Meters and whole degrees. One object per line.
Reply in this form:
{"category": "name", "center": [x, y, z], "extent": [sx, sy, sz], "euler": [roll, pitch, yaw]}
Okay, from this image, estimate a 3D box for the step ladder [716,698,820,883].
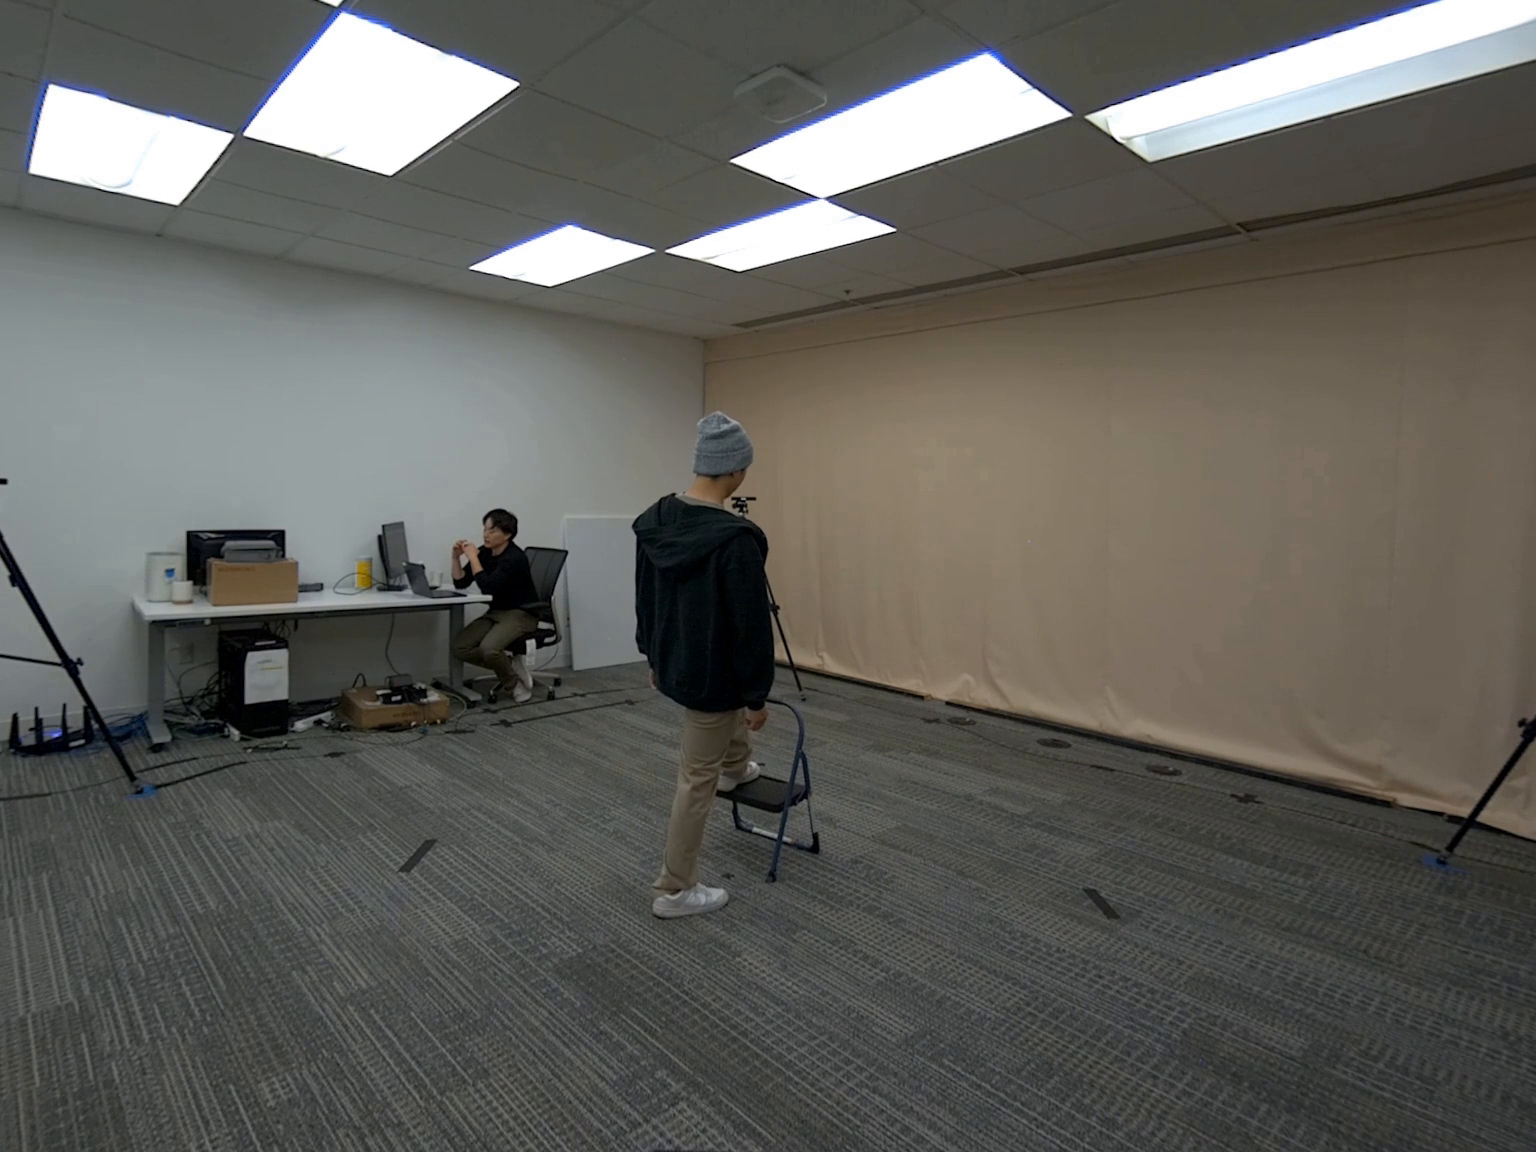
{"category": "step ladder", "center": [-0.054, 0.790, 3.307], "extent": [0.441, 0.605, 0.341], "euler": [4, 4, 36]}
